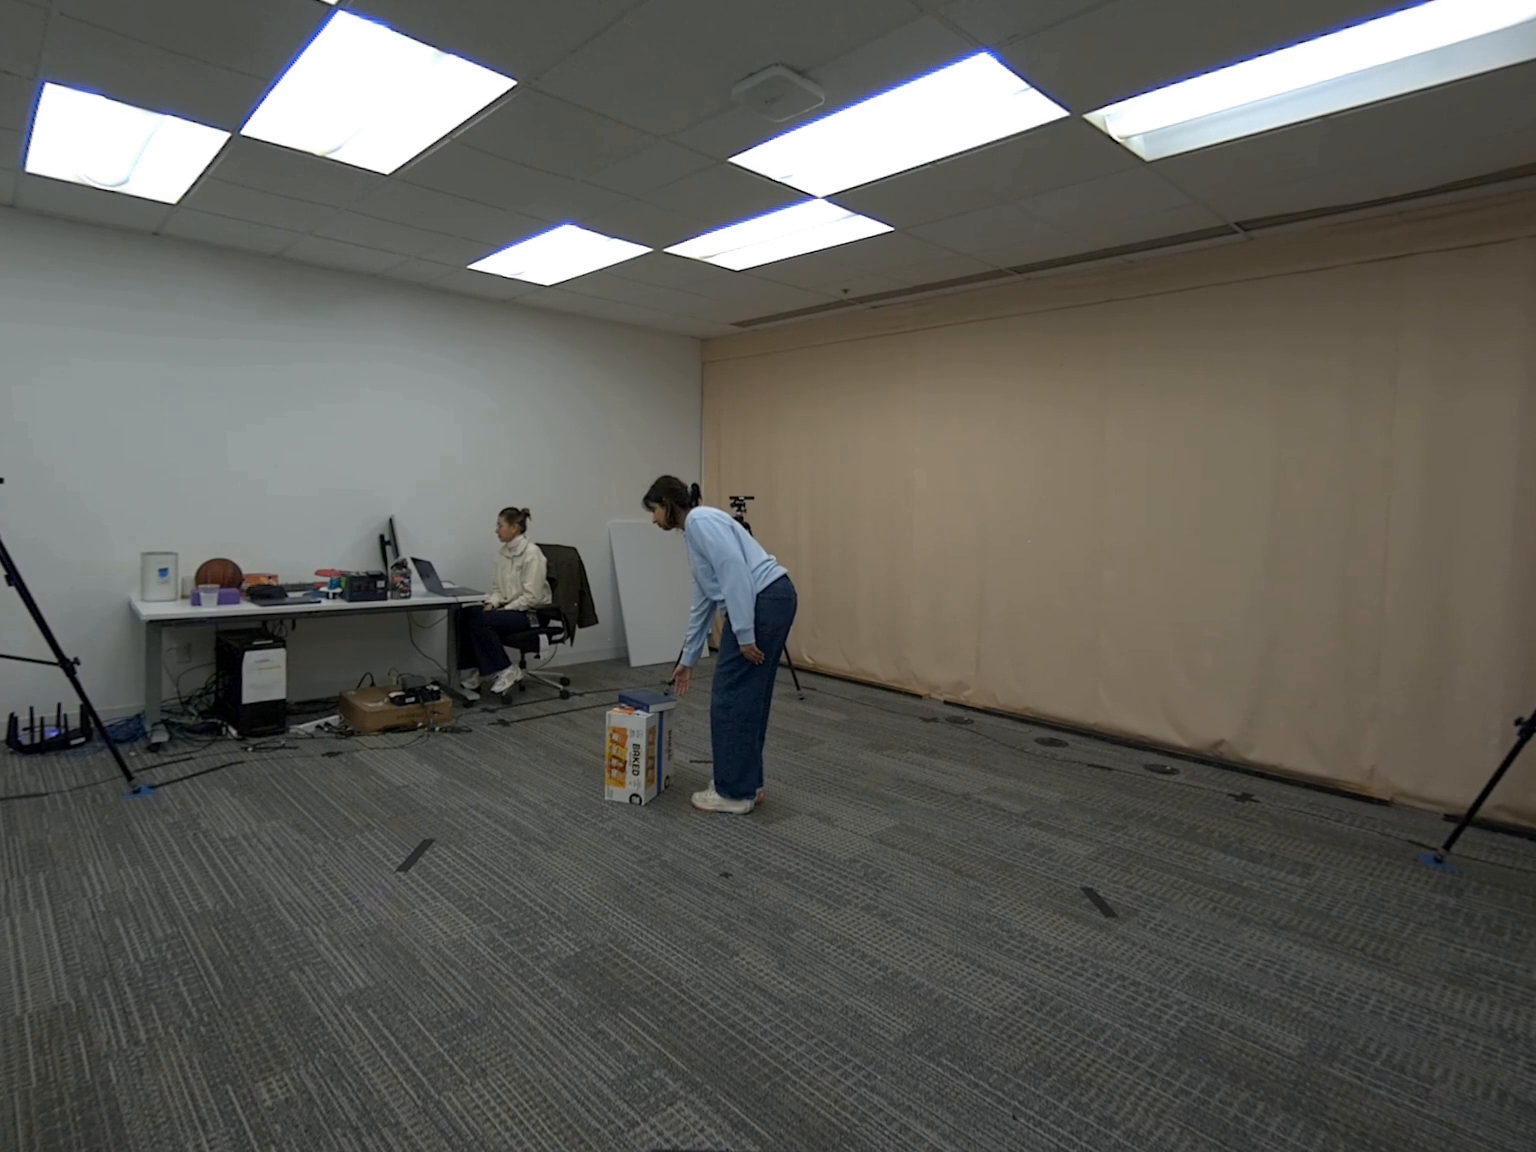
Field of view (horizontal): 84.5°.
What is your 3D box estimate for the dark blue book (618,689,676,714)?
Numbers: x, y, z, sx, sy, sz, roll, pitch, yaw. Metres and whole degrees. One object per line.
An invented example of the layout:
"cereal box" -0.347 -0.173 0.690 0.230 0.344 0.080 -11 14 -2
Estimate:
"dark blue book" -0.571 0.584 3.978 0.159 0.045 0.251 -3 7 -44
